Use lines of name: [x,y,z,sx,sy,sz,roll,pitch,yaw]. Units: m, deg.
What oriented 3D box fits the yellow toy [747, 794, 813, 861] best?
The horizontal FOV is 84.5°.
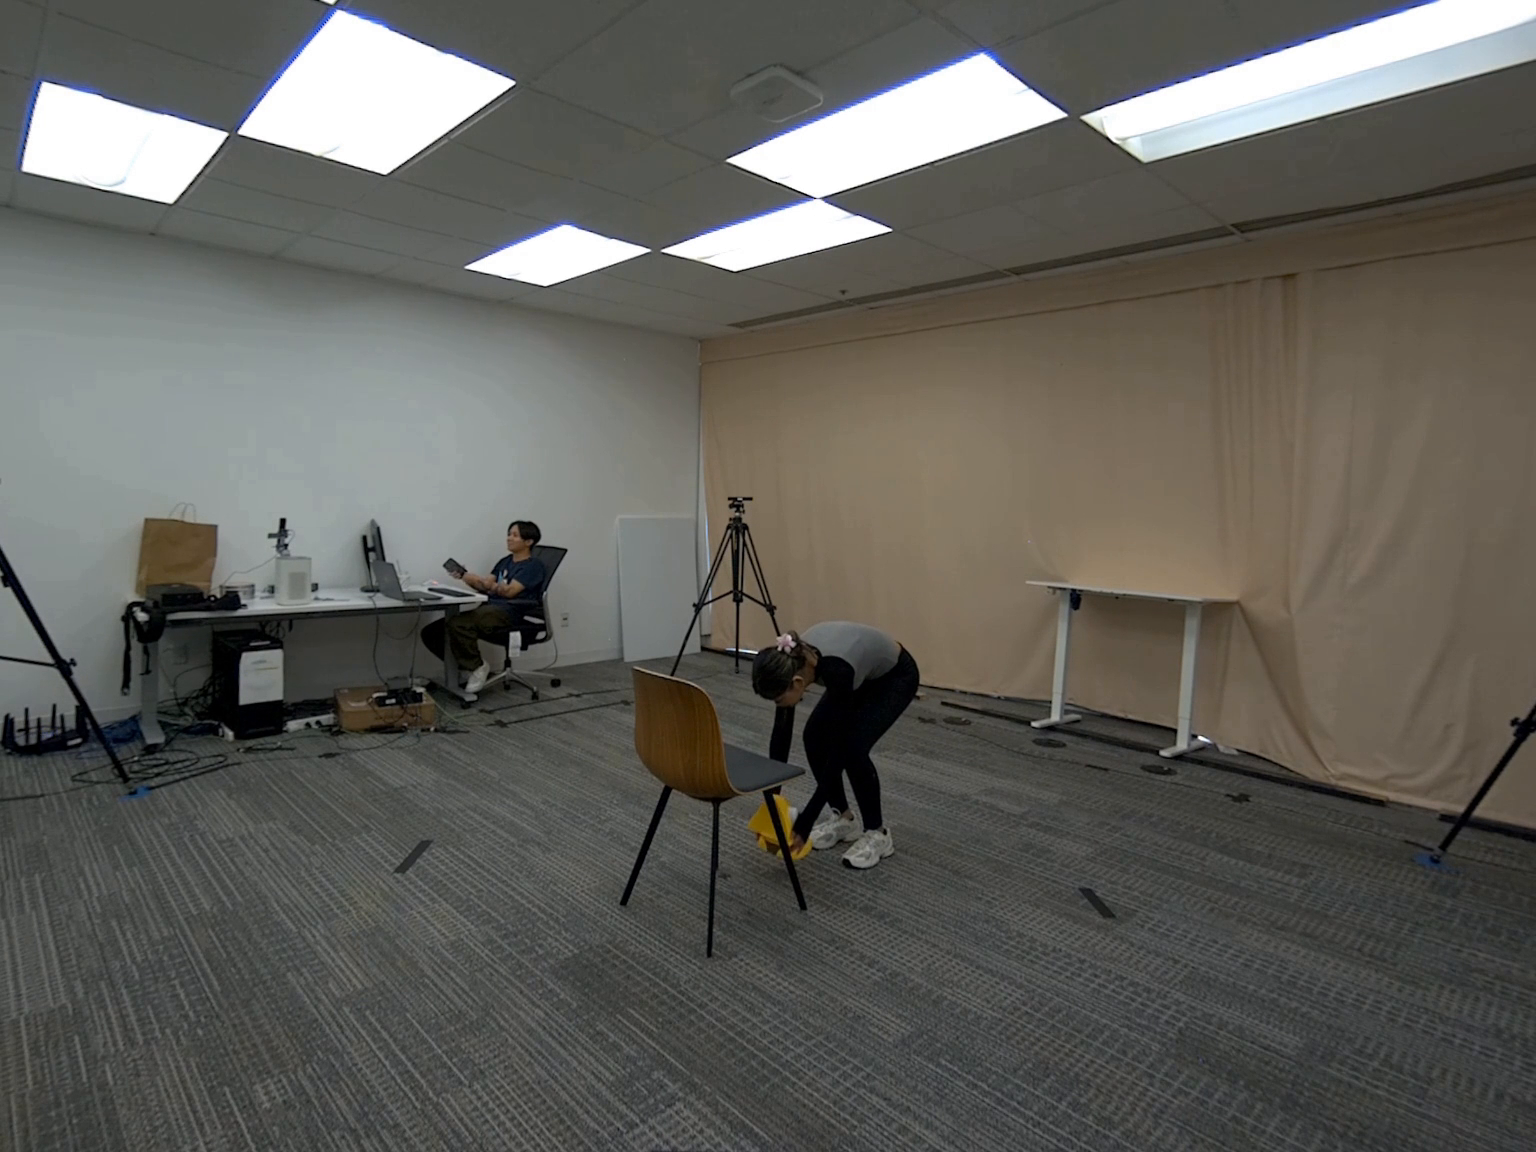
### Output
yellow toy: [0.043,0.893,3.109,0.210,0.229,0.189,9,14,38]
